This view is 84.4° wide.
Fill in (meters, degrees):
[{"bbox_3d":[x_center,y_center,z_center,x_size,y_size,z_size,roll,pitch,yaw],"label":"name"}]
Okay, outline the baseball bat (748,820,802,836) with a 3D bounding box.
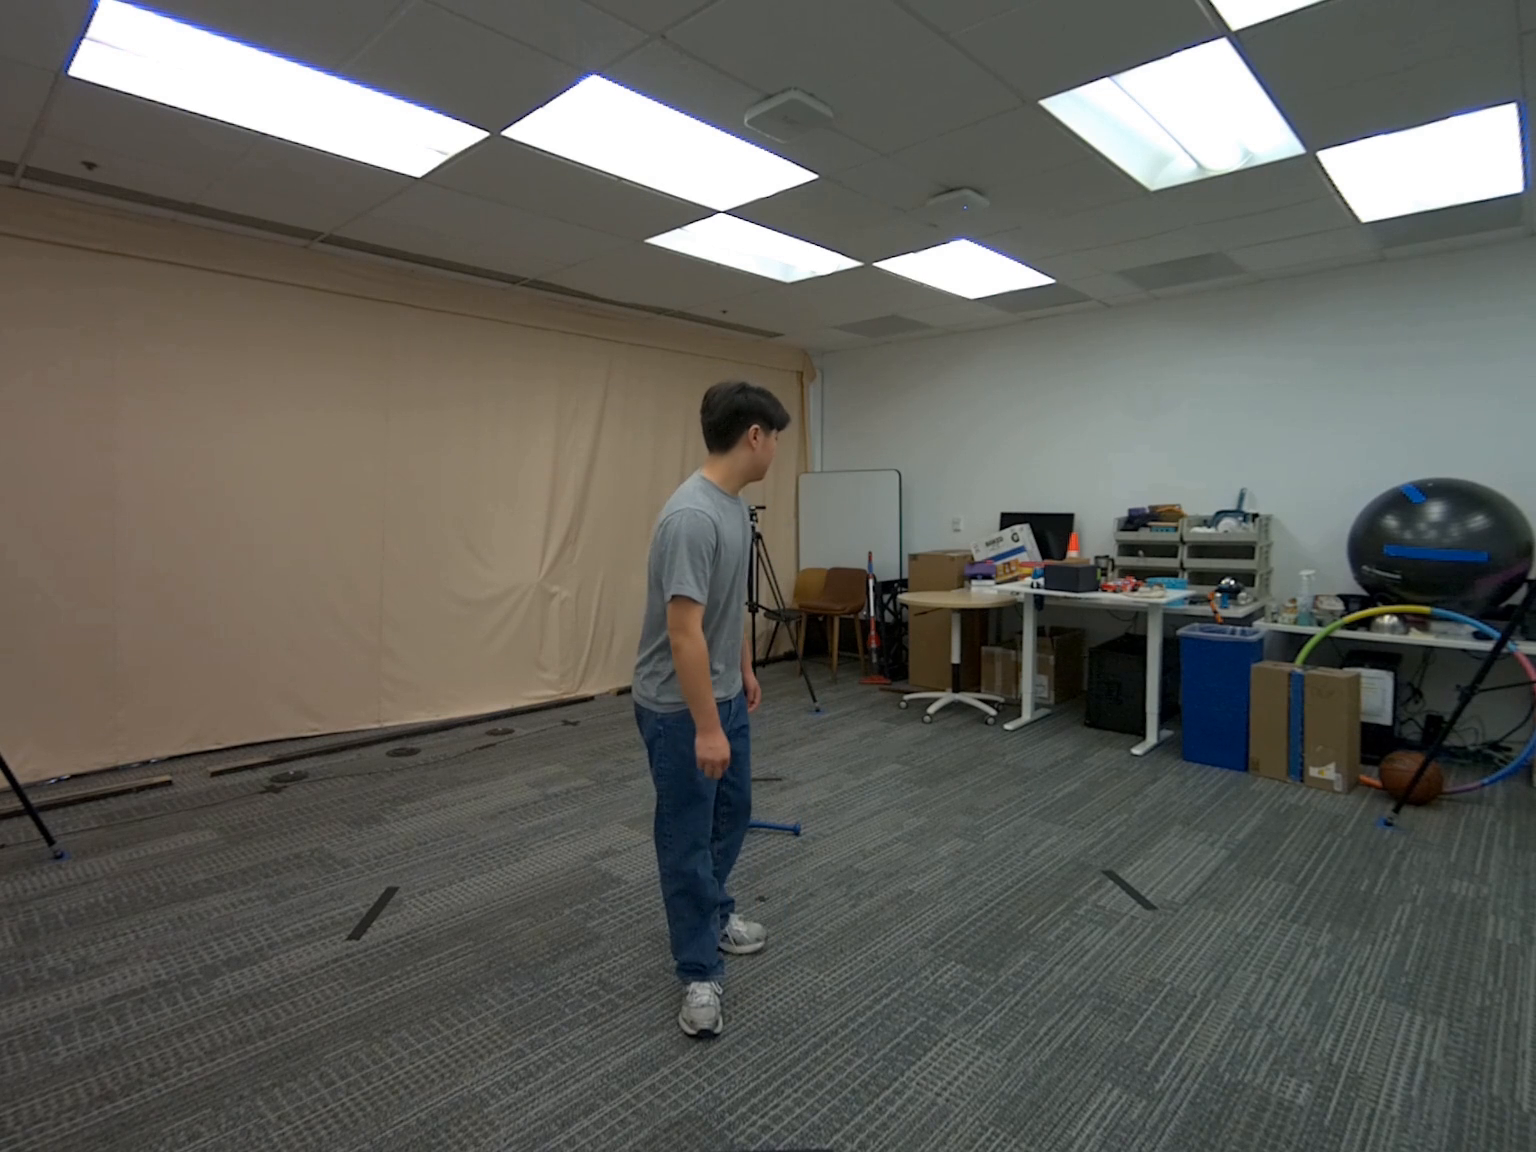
[{"bbox_3d":[-0.129,1.054,3.609,0.550,0.089,0.088,3,4,11],"label":"baseball bat"}]
